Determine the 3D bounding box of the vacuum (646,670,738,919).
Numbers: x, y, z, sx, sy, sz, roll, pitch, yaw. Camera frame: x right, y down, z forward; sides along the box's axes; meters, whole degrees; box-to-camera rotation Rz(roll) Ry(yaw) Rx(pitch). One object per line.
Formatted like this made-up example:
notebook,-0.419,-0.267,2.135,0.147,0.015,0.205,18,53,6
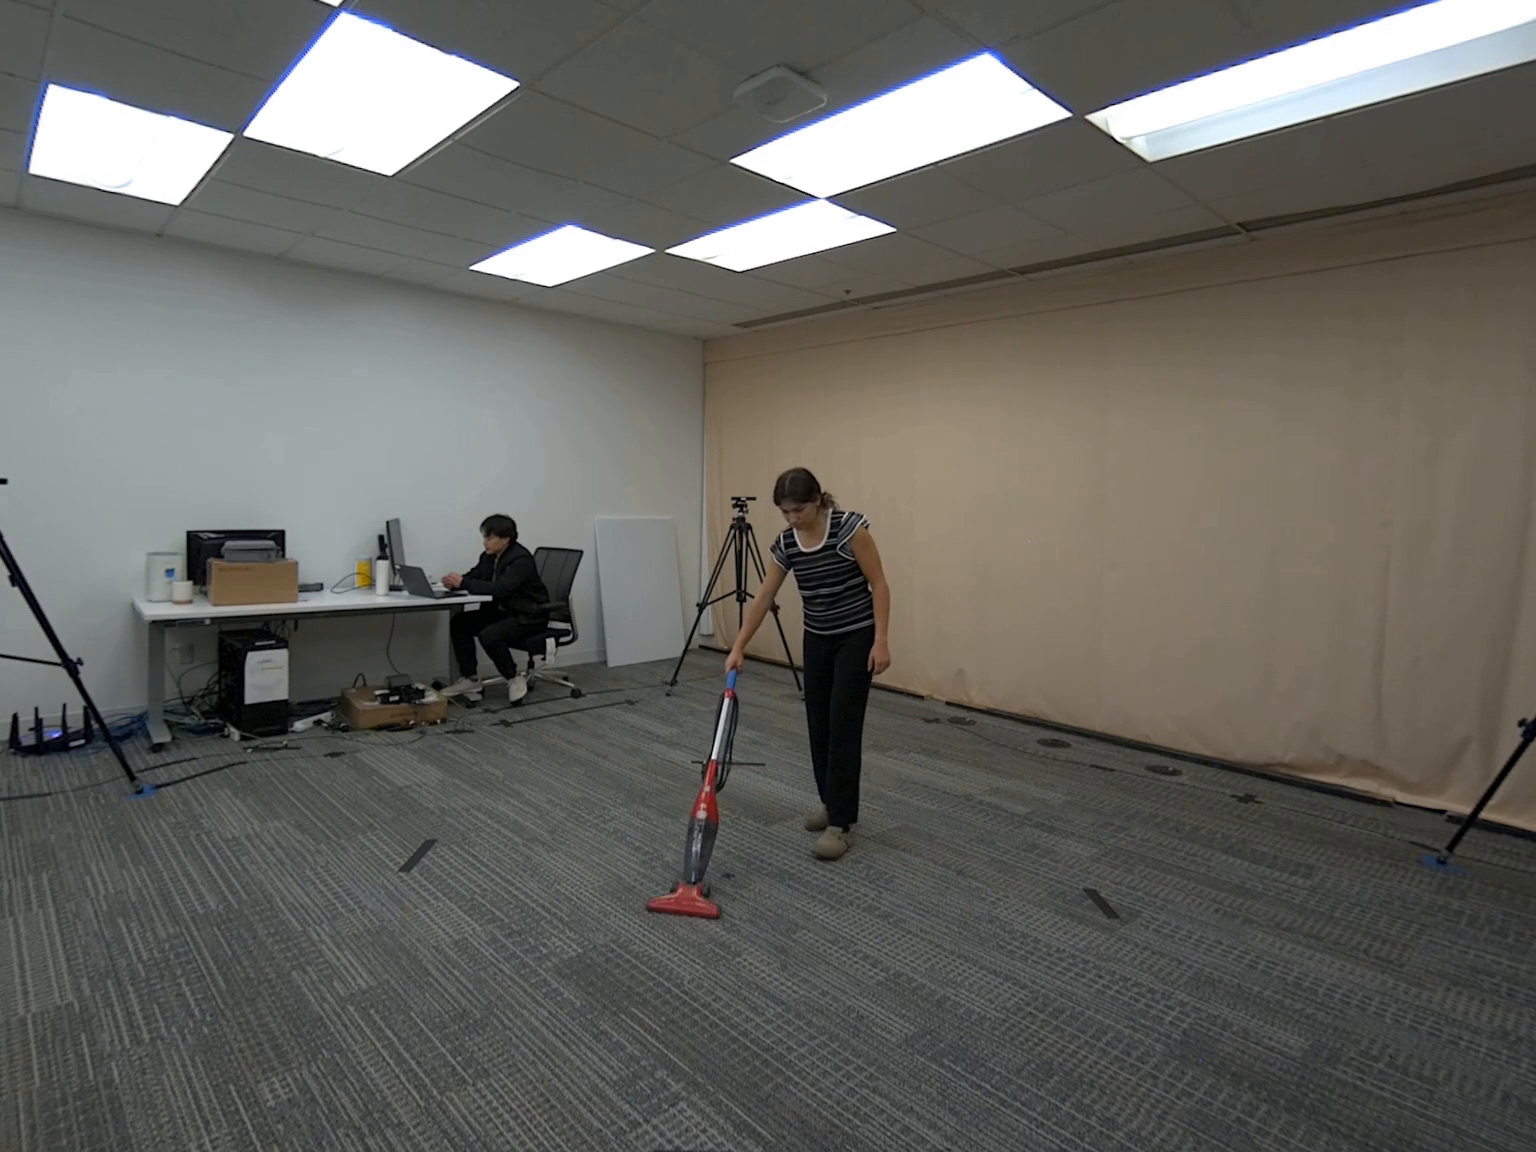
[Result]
vacuum,-0.208,0.745,3.235,0.255,0.140,1.067,-1,44,12
